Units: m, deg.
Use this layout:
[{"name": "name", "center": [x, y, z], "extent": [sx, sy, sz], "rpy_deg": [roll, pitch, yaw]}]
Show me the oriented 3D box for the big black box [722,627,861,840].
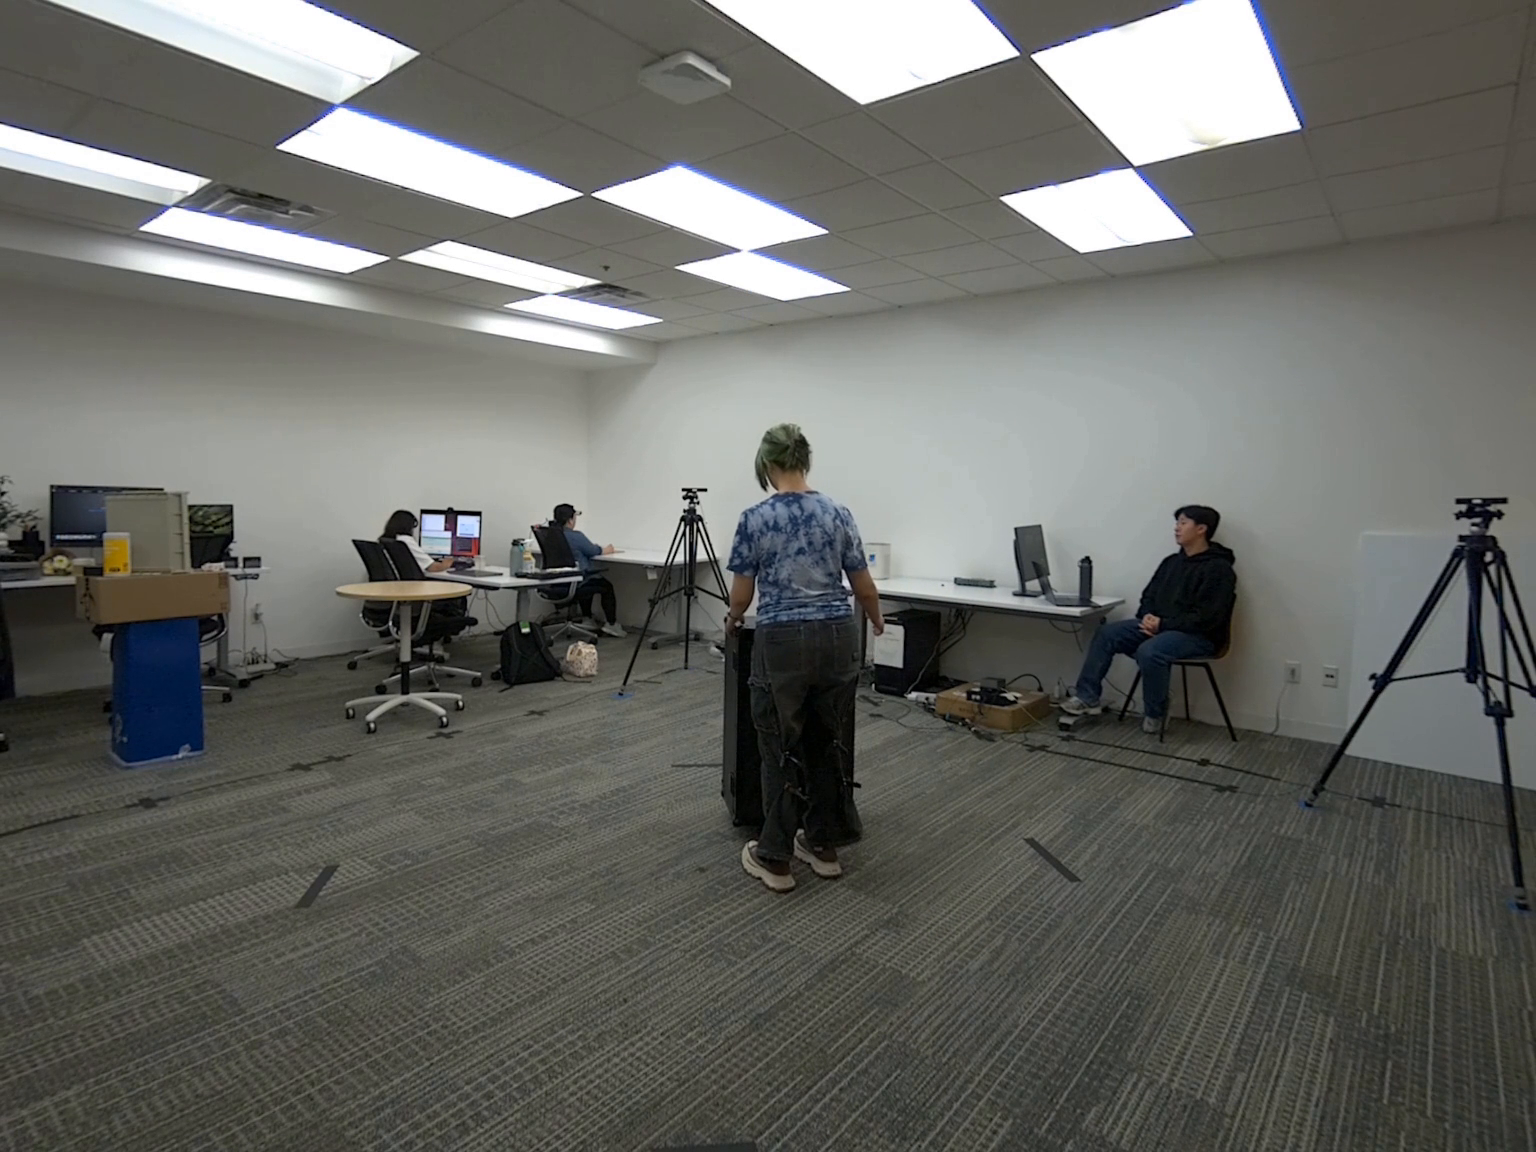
[{"name": "big black box", "center": [0.061, 0.608, 3.531], "extent": [0.516, 0.860, 0.401], "rpy_deg": [0, 2, -10]}]
